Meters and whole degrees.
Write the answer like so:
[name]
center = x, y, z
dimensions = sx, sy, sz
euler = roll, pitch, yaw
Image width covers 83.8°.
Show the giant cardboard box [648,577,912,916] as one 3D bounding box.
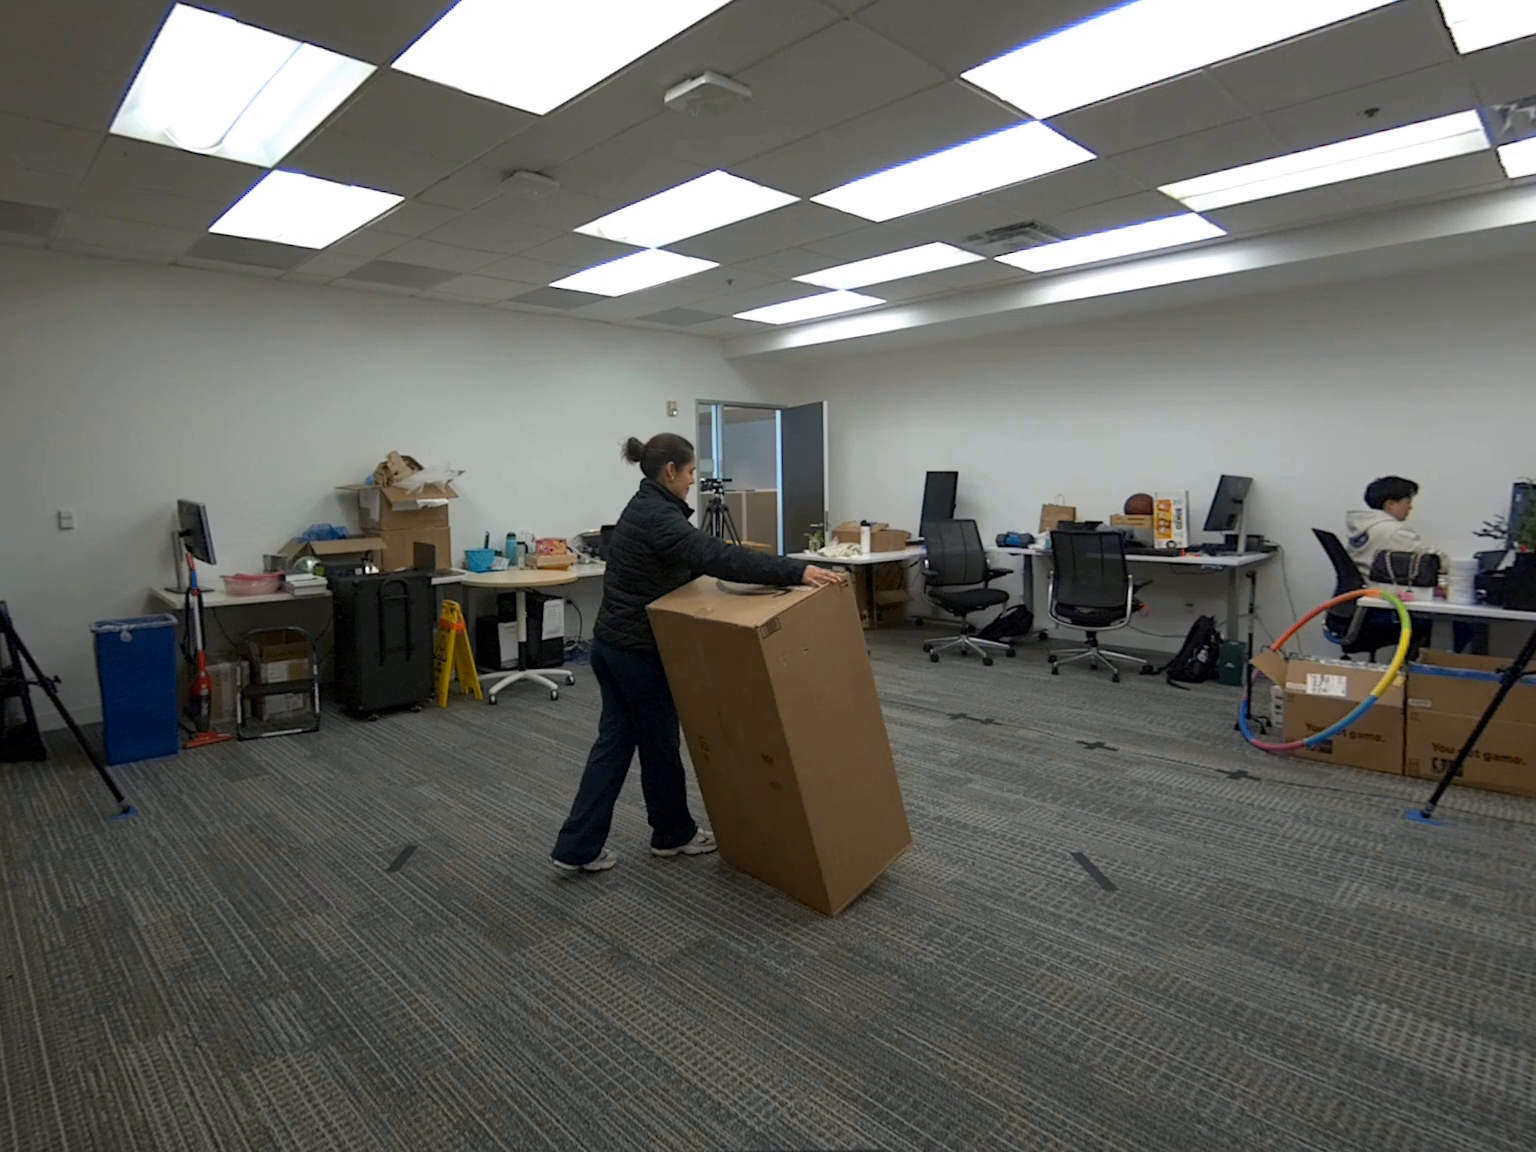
[giant cardboard box]
center = 0.046, 0.514, 2.939
dimensions = 0.420, 1.009, 0.595
euler = -26, 19, -37
